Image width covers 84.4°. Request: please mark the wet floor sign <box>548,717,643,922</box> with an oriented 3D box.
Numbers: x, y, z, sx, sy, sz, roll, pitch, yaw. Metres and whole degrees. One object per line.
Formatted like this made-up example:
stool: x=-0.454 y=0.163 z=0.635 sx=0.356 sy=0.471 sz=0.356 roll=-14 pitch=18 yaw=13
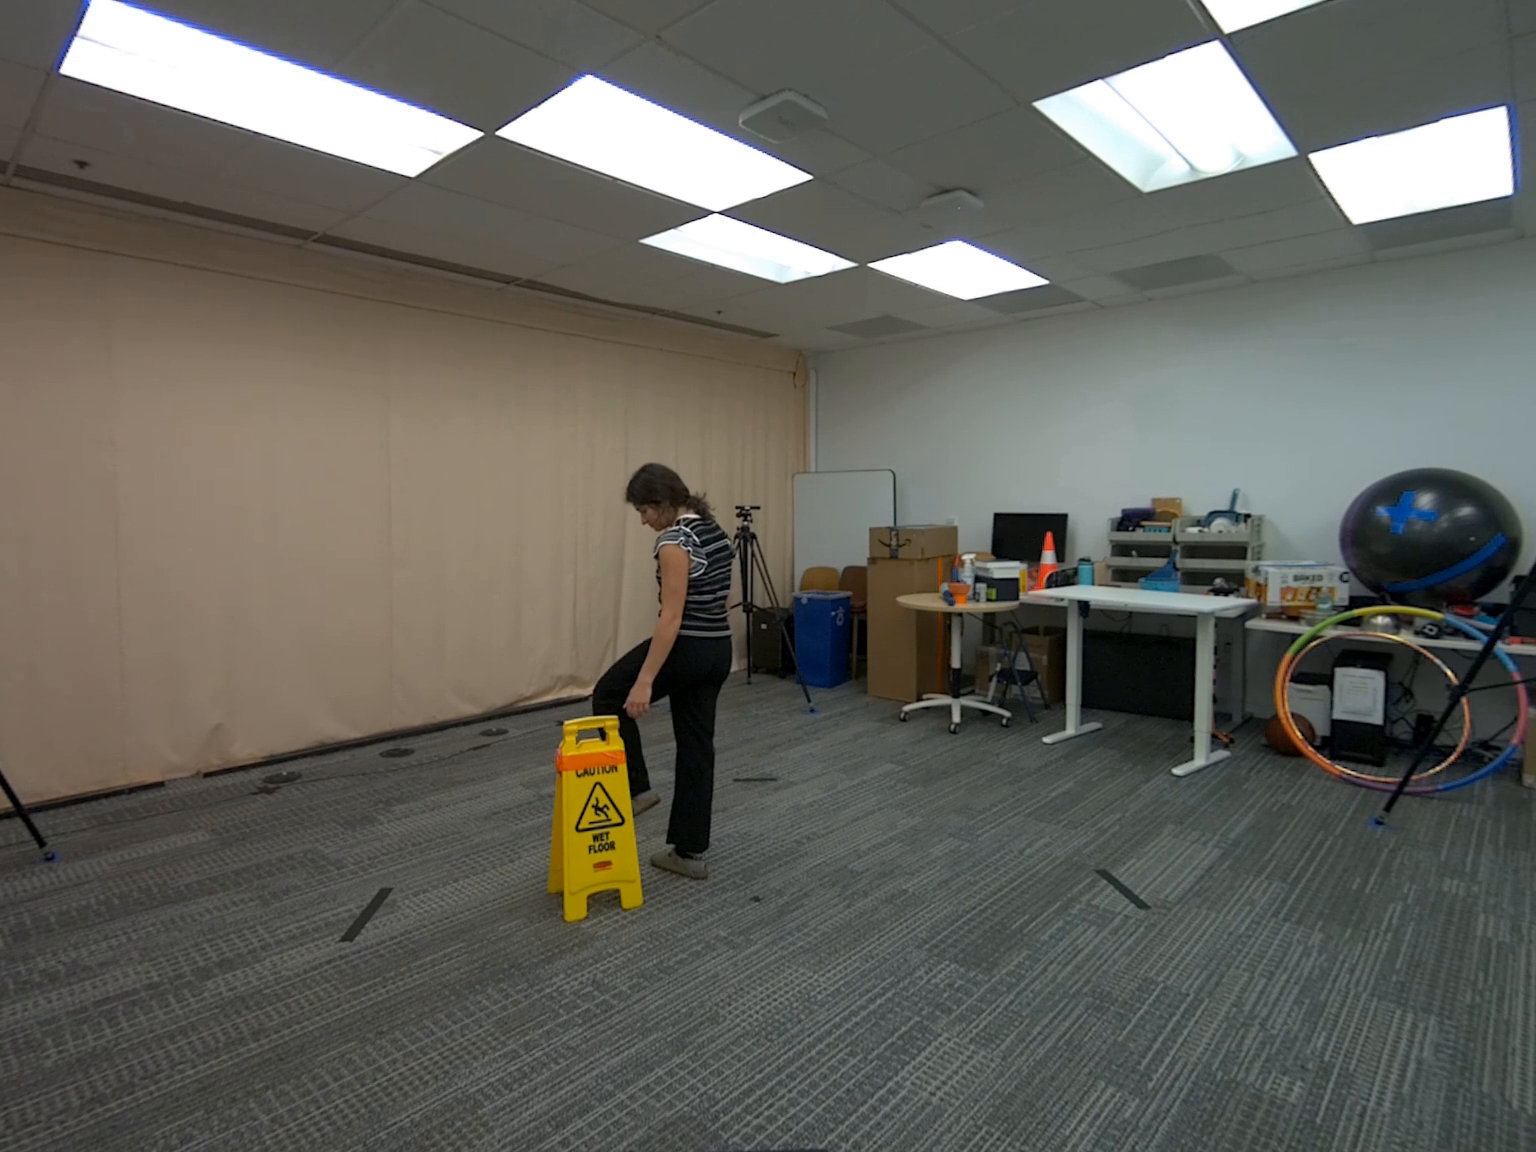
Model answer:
wet floor sign: x=-0.622 y=0.822 z=2.979 sx=0.276 sy=0.645 sz=0.297 roll=-2 pitch=3 yaw=-25
